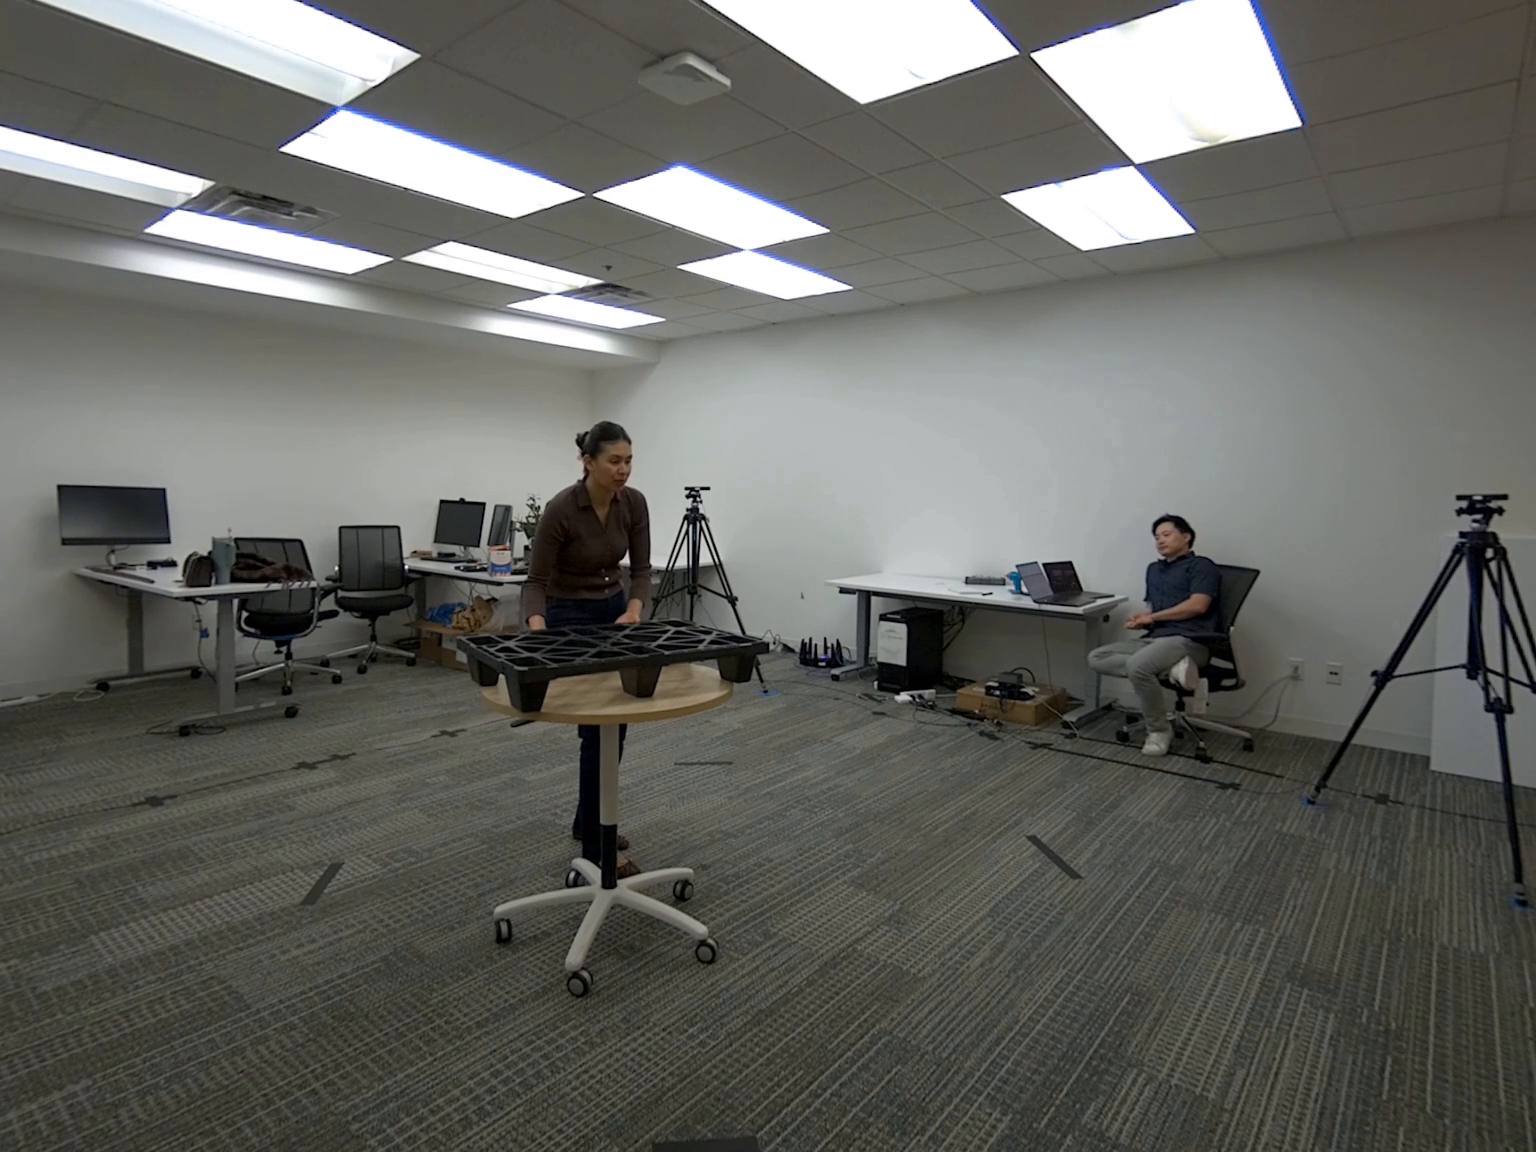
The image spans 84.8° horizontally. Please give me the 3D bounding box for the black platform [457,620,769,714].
[{"bbox_3d":[-0.495,0.260,2.624,0.783,0.143,0.624,-4,6,-34],"label":"black platform"}]
